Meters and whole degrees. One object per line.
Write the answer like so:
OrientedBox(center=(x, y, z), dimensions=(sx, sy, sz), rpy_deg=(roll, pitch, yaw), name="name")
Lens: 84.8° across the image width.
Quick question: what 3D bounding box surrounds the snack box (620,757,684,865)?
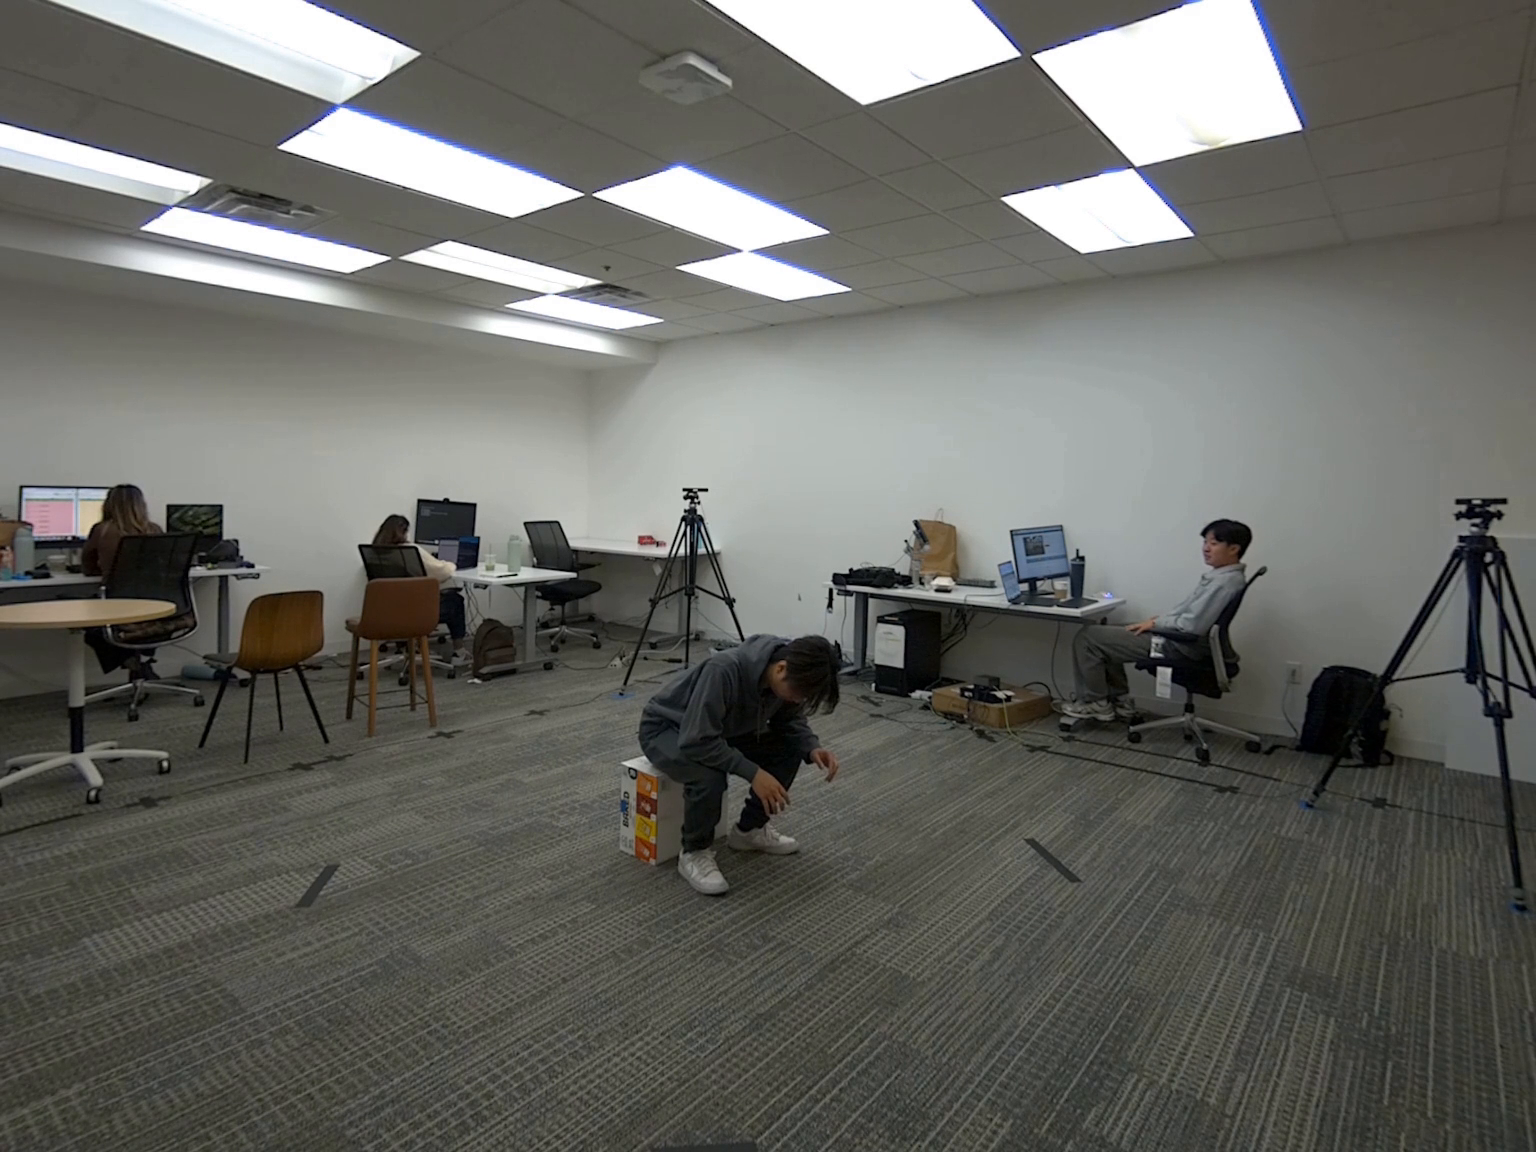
OrientedBox(center=(-0.373, 0.875, 3.334), dimensions=(0.213, 0.339, 0.393), rpy_deg=(6, 6, 40), name="snack box")
